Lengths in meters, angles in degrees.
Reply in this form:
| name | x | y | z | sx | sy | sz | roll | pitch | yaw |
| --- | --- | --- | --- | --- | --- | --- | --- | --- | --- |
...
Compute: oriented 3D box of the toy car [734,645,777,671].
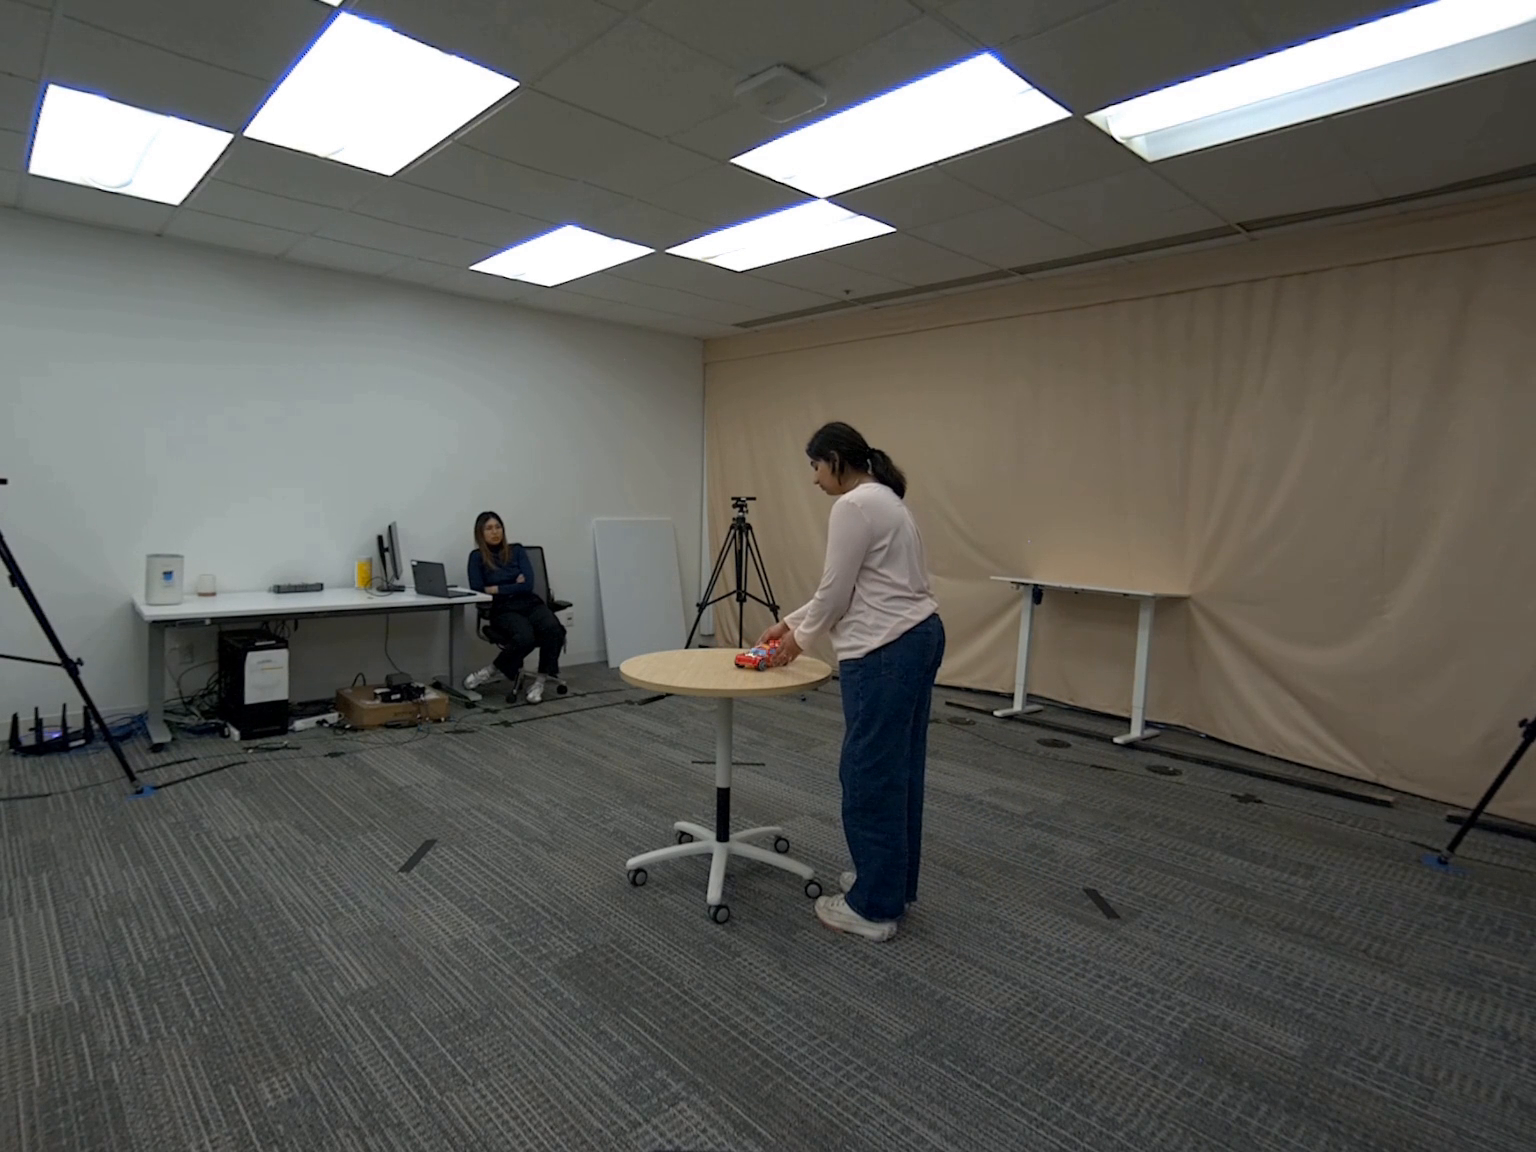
| name | x | y | z | sx | sy | sz | roll | pitch | yaw |
| --- | --- | --- | --- | --- | --- | --- | --- | --- | --- |
| toy car | -0.018 | 0.297 | 3.078 | 0.133 | 0.082 | 0.251 | 5 | 18 | 40 |
